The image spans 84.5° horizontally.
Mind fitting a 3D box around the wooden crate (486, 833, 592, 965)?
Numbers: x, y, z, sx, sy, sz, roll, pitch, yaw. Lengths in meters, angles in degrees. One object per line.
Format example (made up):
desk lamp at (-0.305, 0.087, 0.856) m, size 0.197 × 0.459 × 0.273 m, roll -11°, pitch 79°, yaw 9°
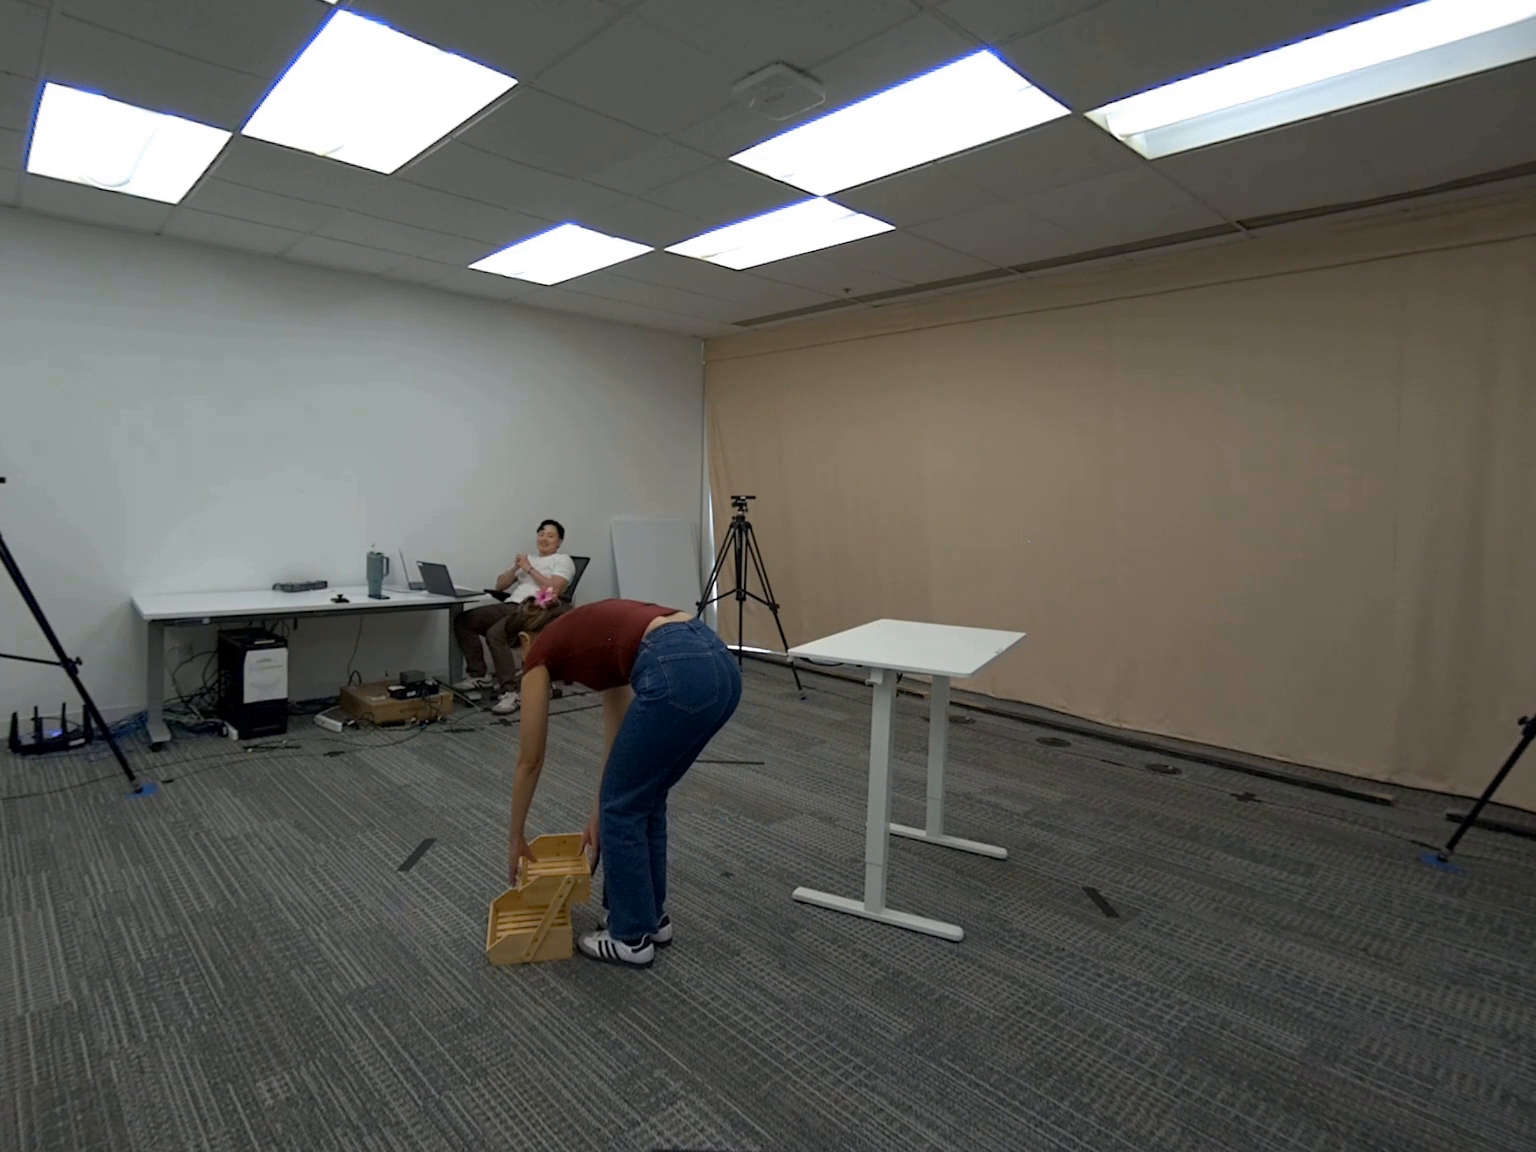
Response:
wooden crate at (-0.723, 0.993, 2.638) m, size 0.298 × 0.272 × 0.329 m, roll 1°, pitch 4°, yaw -15°
